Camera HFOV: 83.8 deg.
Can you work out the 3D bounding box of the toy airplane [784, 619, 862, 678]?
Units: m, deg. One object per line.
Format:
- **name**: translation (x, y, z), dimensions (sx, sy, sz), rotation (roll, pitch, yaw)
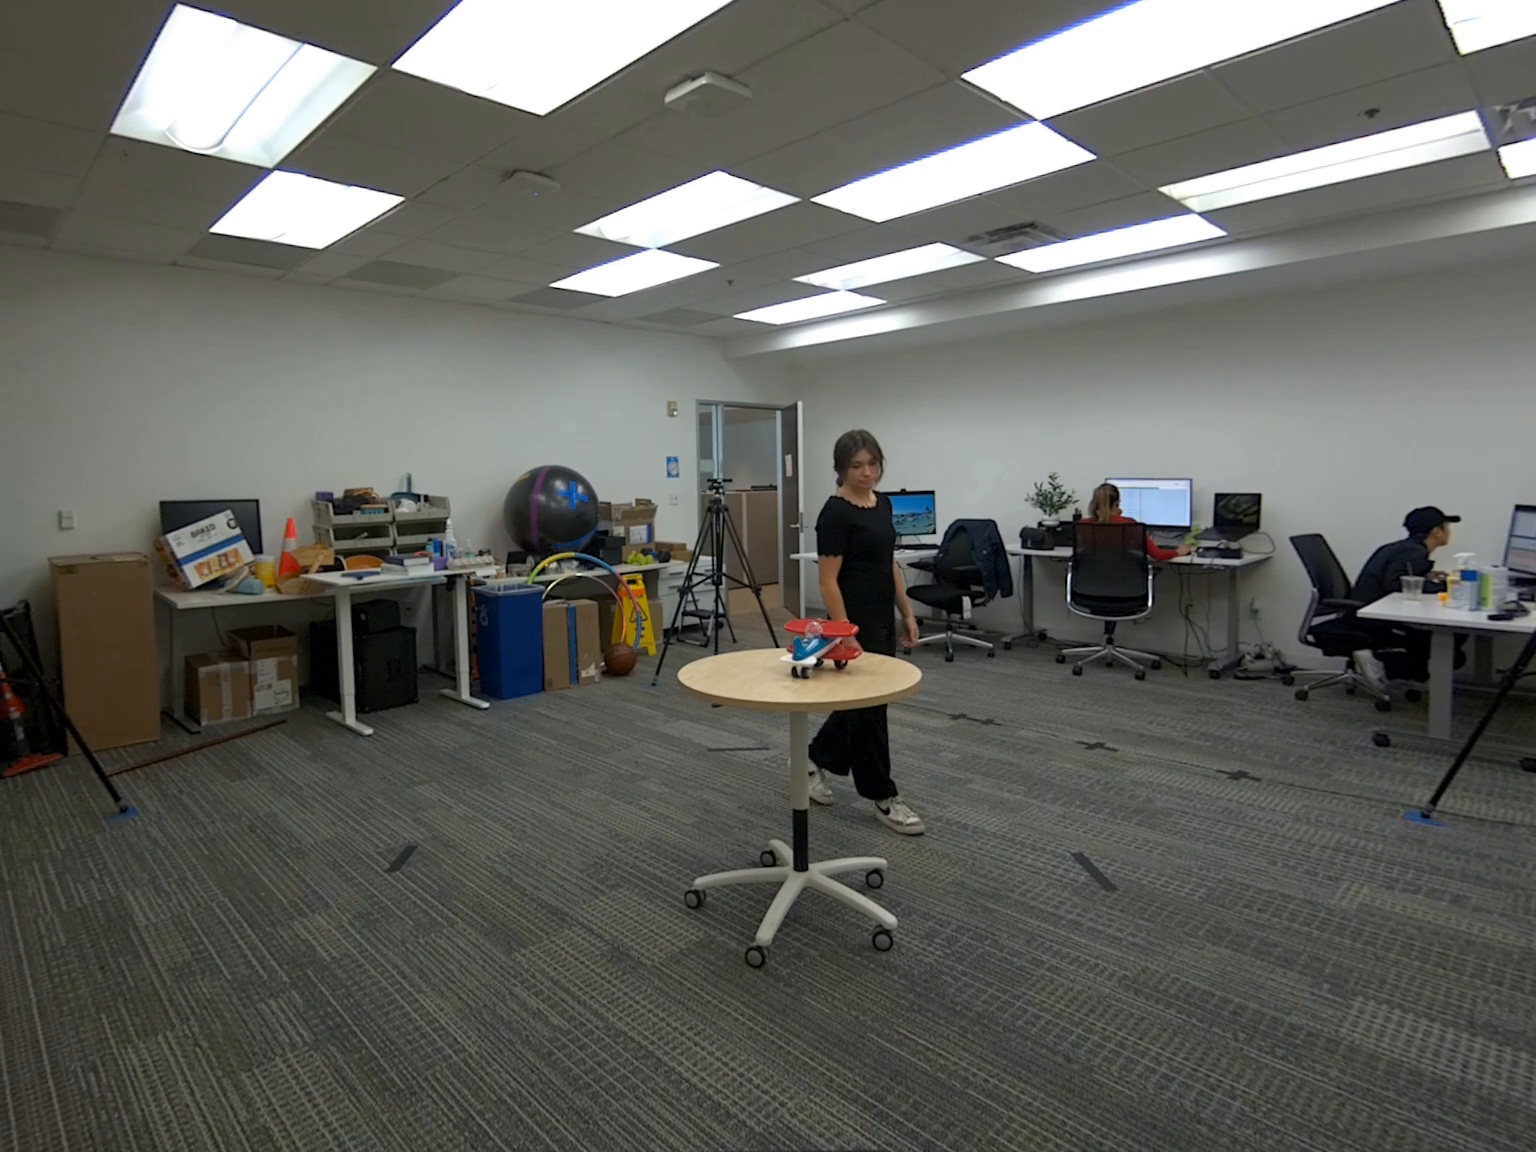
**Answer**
- **toy airplane**: translation (0.176, 0.226, 2.684), dimensions (0.253, 0.156, 0.258), rotation (-1, 5, 6)
